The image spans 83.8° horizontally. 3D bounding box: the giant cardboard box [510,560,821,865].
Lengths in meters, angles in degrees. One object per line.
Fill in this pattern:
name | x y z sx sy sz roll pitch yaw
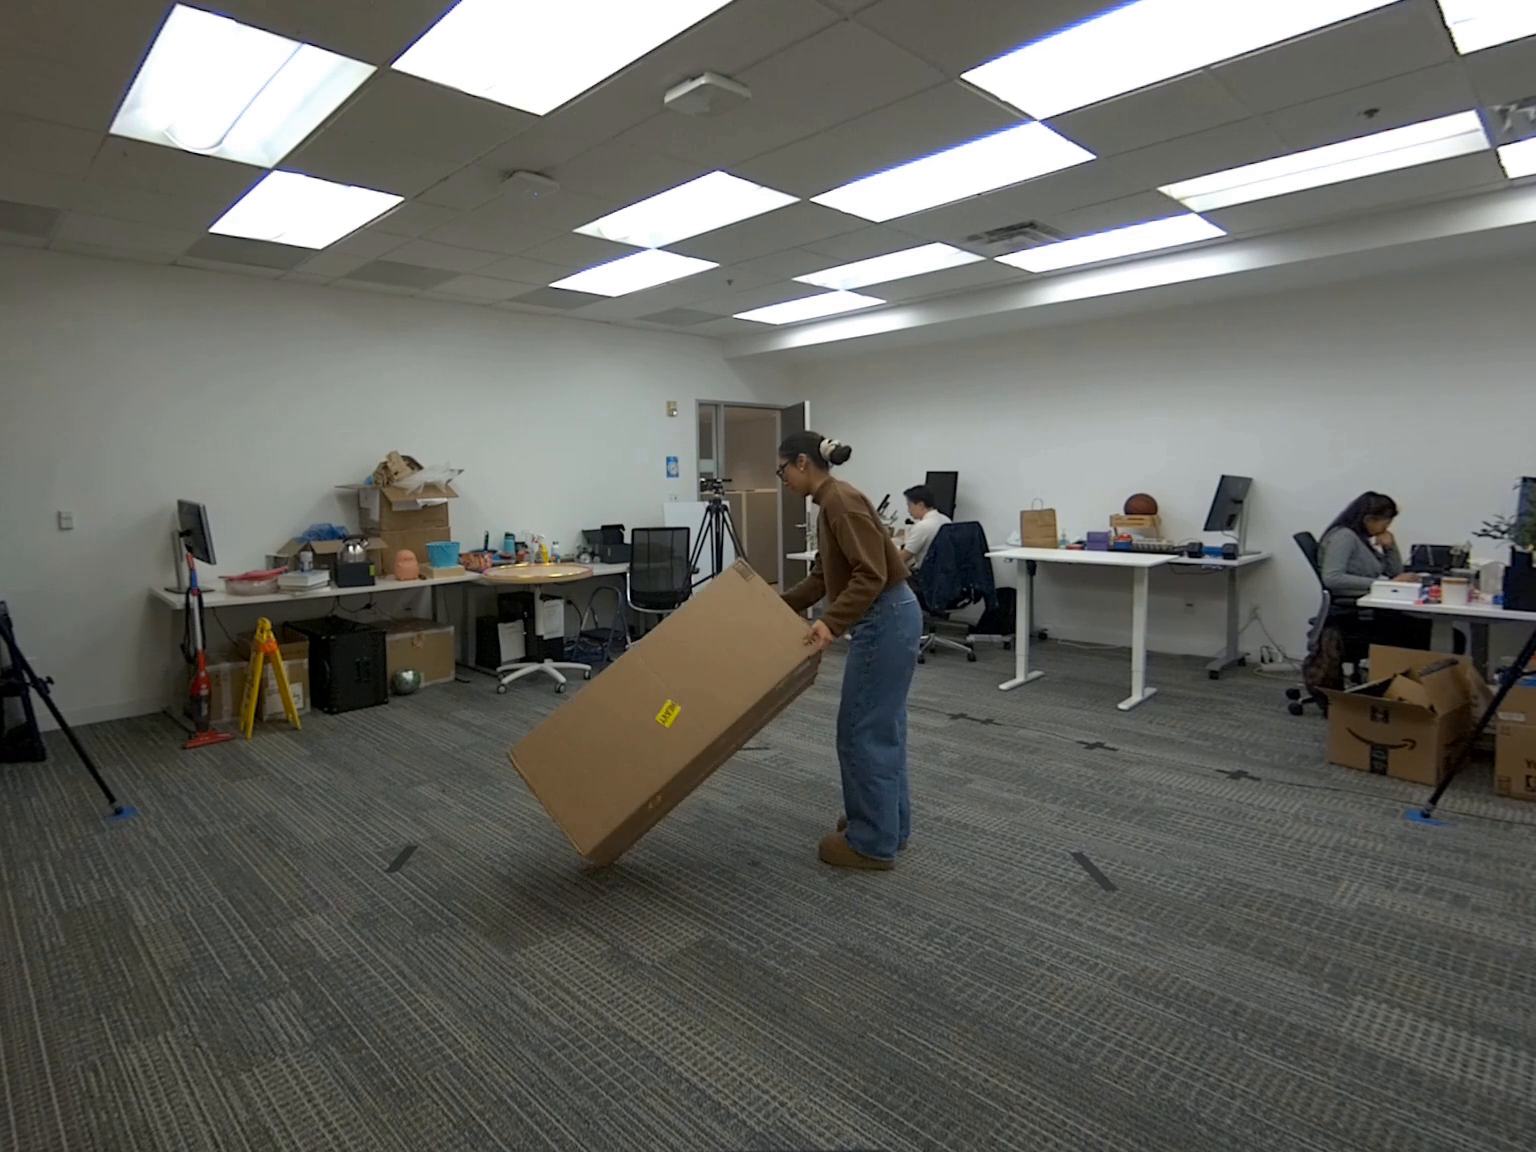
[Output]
giant cardboard box | -0.332 0.503 3.045 1.024 0.456 0.573 -41 -15 -15
